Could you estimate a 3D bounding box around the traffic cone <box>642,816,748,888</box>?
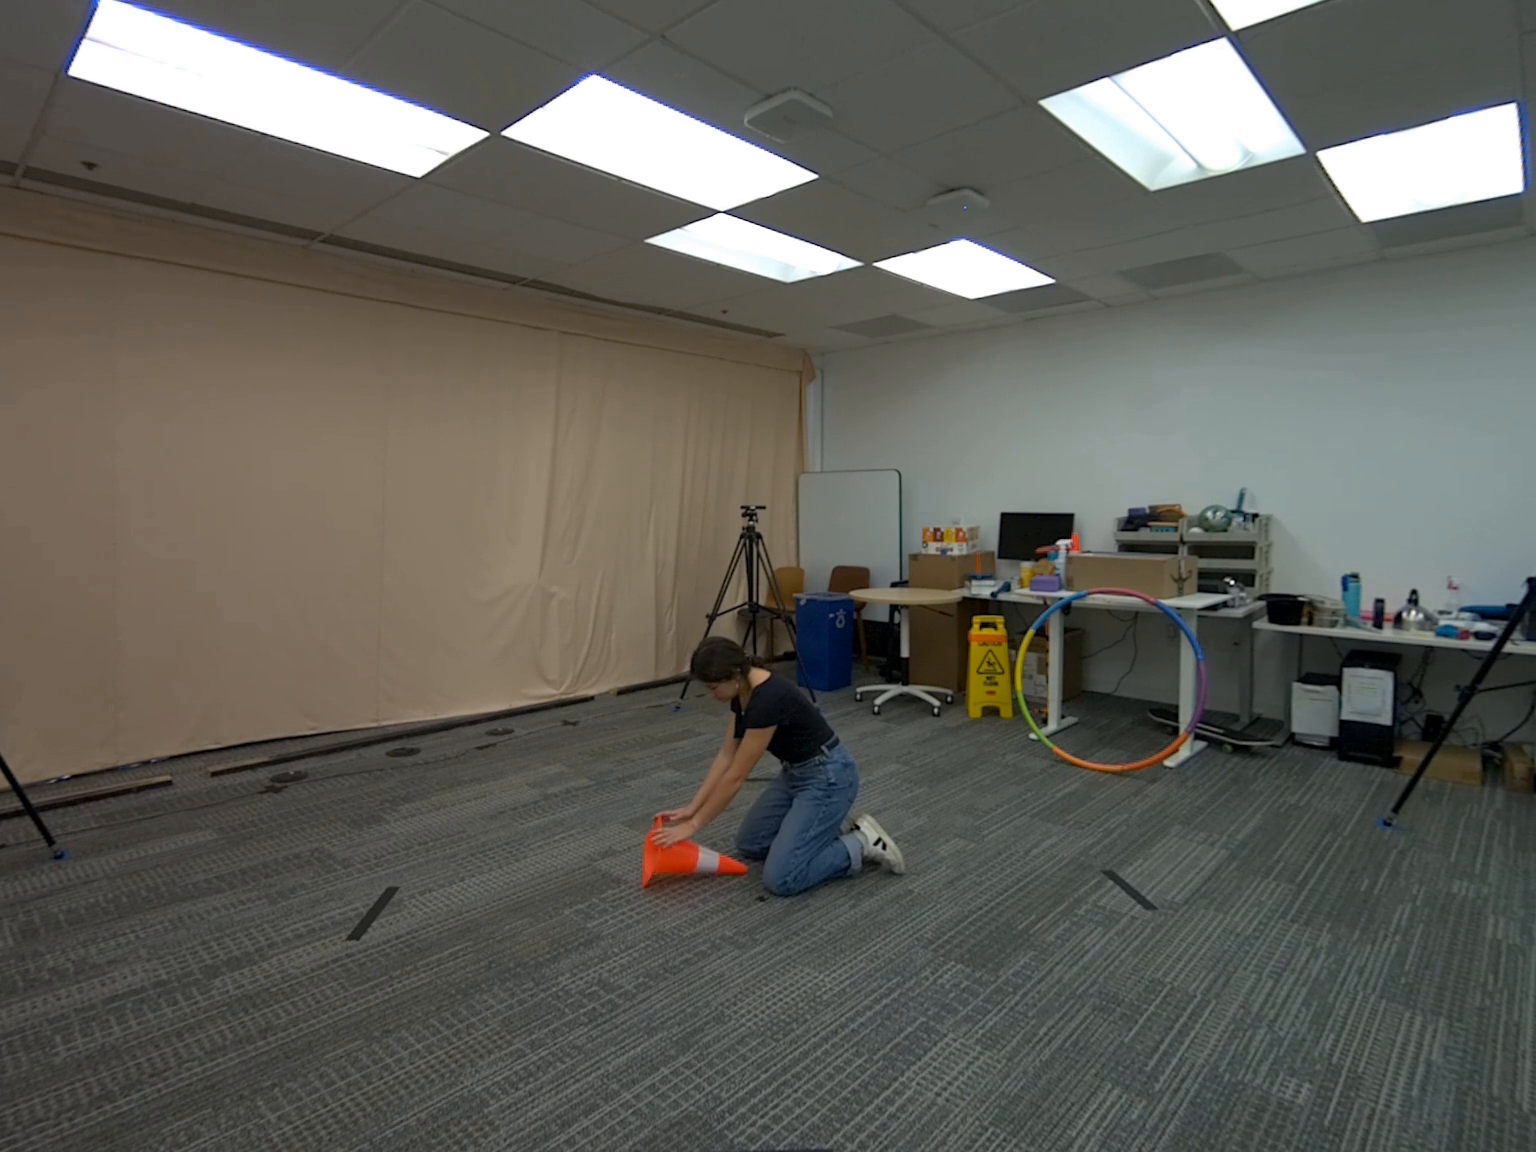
[{"bbox_3d":[-0.252,1.086,3.142,0.377,0.205,0.207,21,36,-15],"label":"traffic cone"}]
